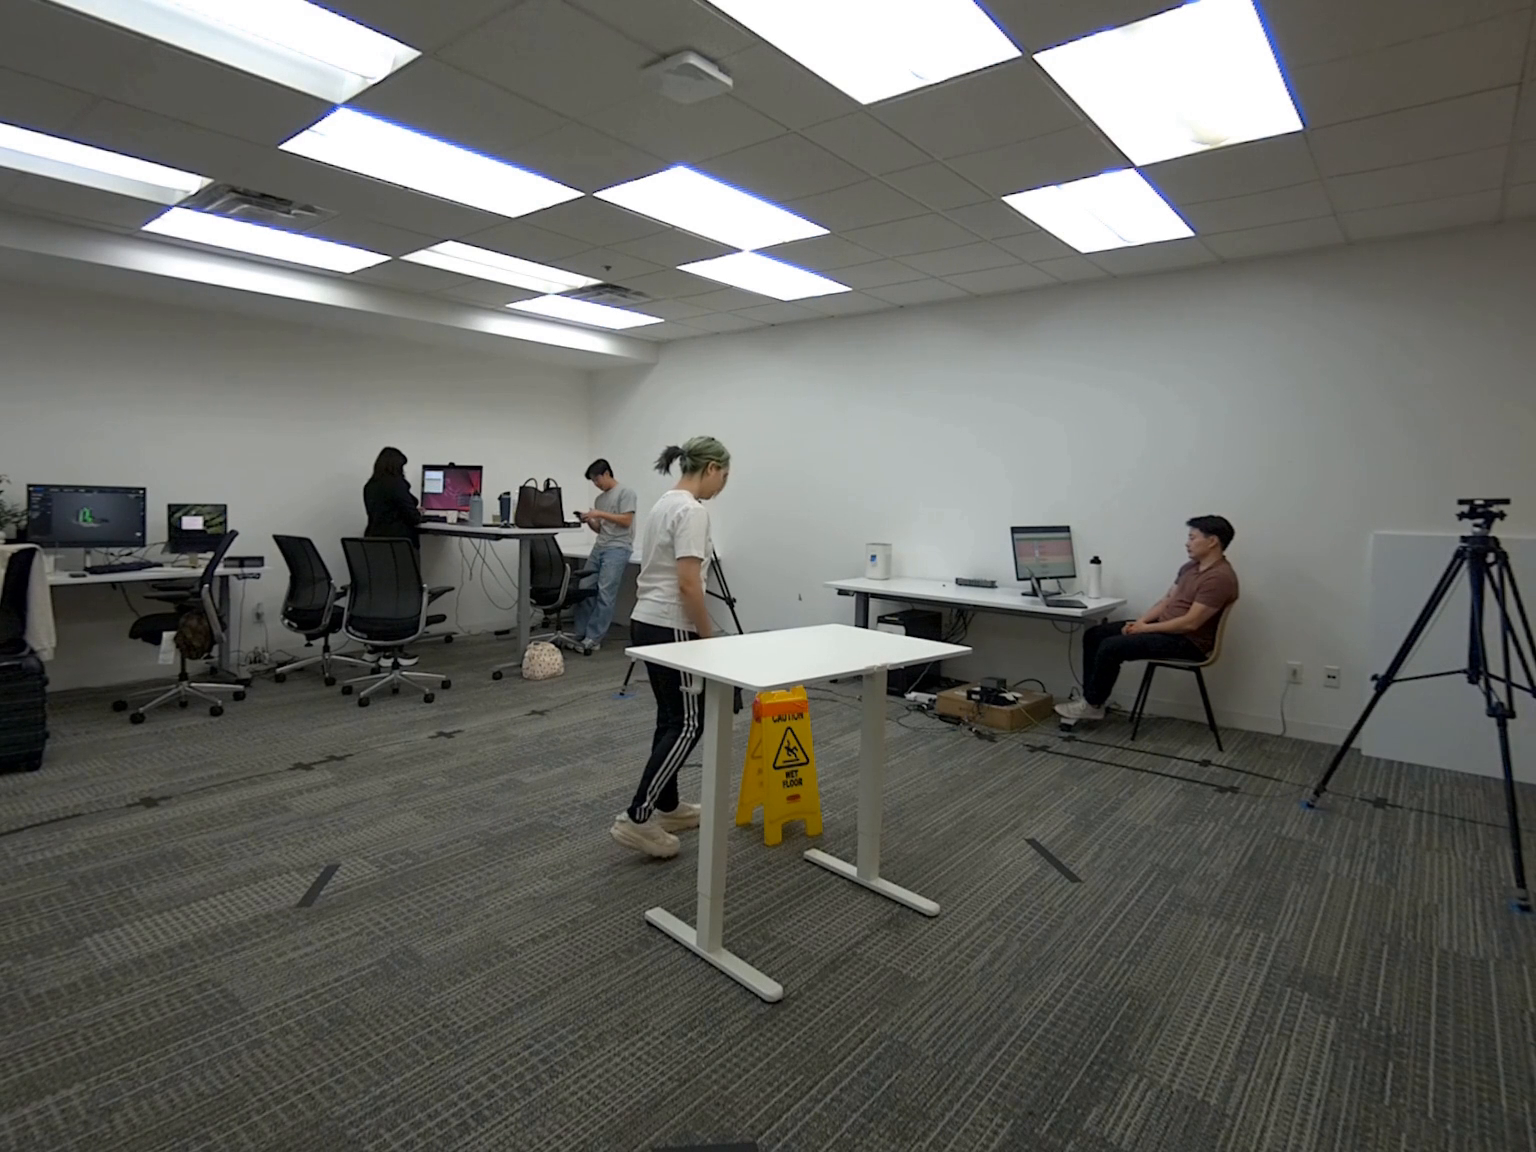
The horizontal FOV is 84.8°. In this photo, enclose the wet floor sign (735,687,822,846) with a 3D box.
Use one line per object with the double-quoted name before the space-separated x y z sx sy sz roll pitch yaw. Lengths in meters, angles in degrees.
"wet floor sign" 0.042 0.717 3.483 0.274 0.645 0.298 0 3 -31
